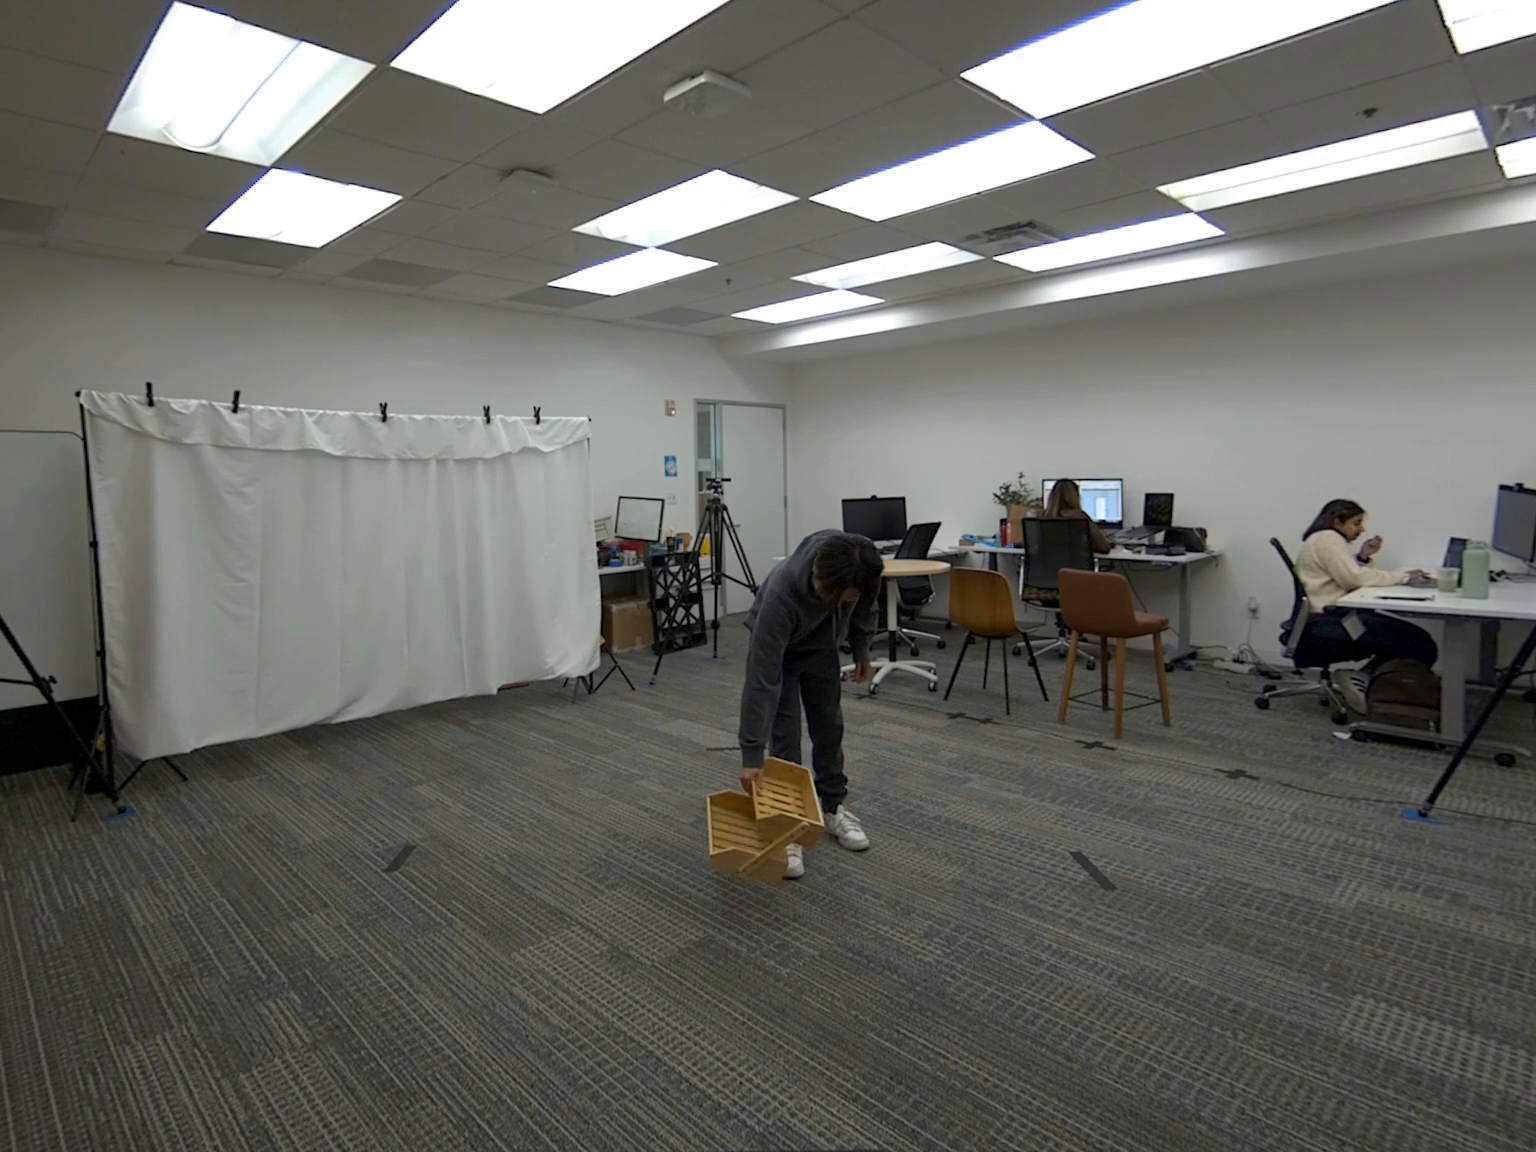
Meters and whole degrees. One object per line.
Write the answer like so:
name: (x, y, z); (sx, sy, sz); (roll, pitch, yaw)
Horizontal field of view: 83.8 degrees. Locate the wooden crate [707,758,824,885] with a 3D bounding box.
wooden crate: (-0.019, 0.788, 2.804); (0.298, 0.271, 0.332); (19, 17, -13)
